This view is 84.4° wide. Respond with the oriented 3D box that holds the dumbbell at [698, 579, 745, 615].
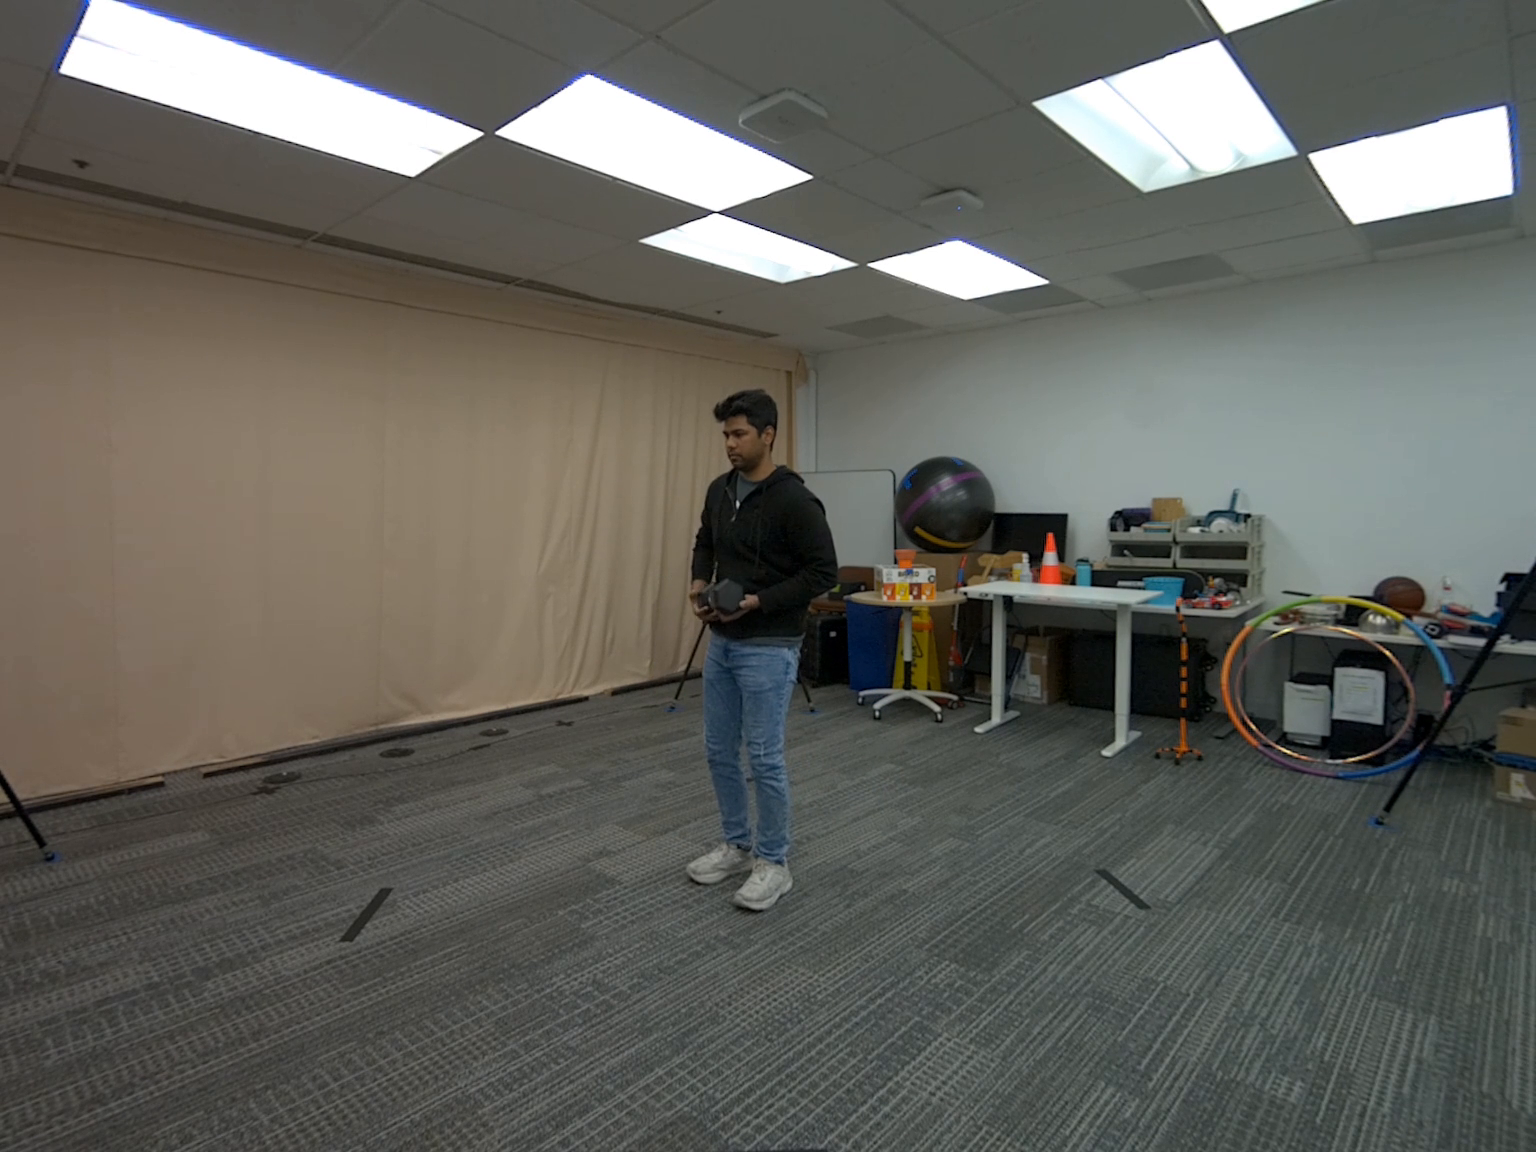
[{"bbox_3d":[-0.165,0.077,2.940,0.121,0.109,0.298,28,-14,-15],"label":"dumbbell"}]
